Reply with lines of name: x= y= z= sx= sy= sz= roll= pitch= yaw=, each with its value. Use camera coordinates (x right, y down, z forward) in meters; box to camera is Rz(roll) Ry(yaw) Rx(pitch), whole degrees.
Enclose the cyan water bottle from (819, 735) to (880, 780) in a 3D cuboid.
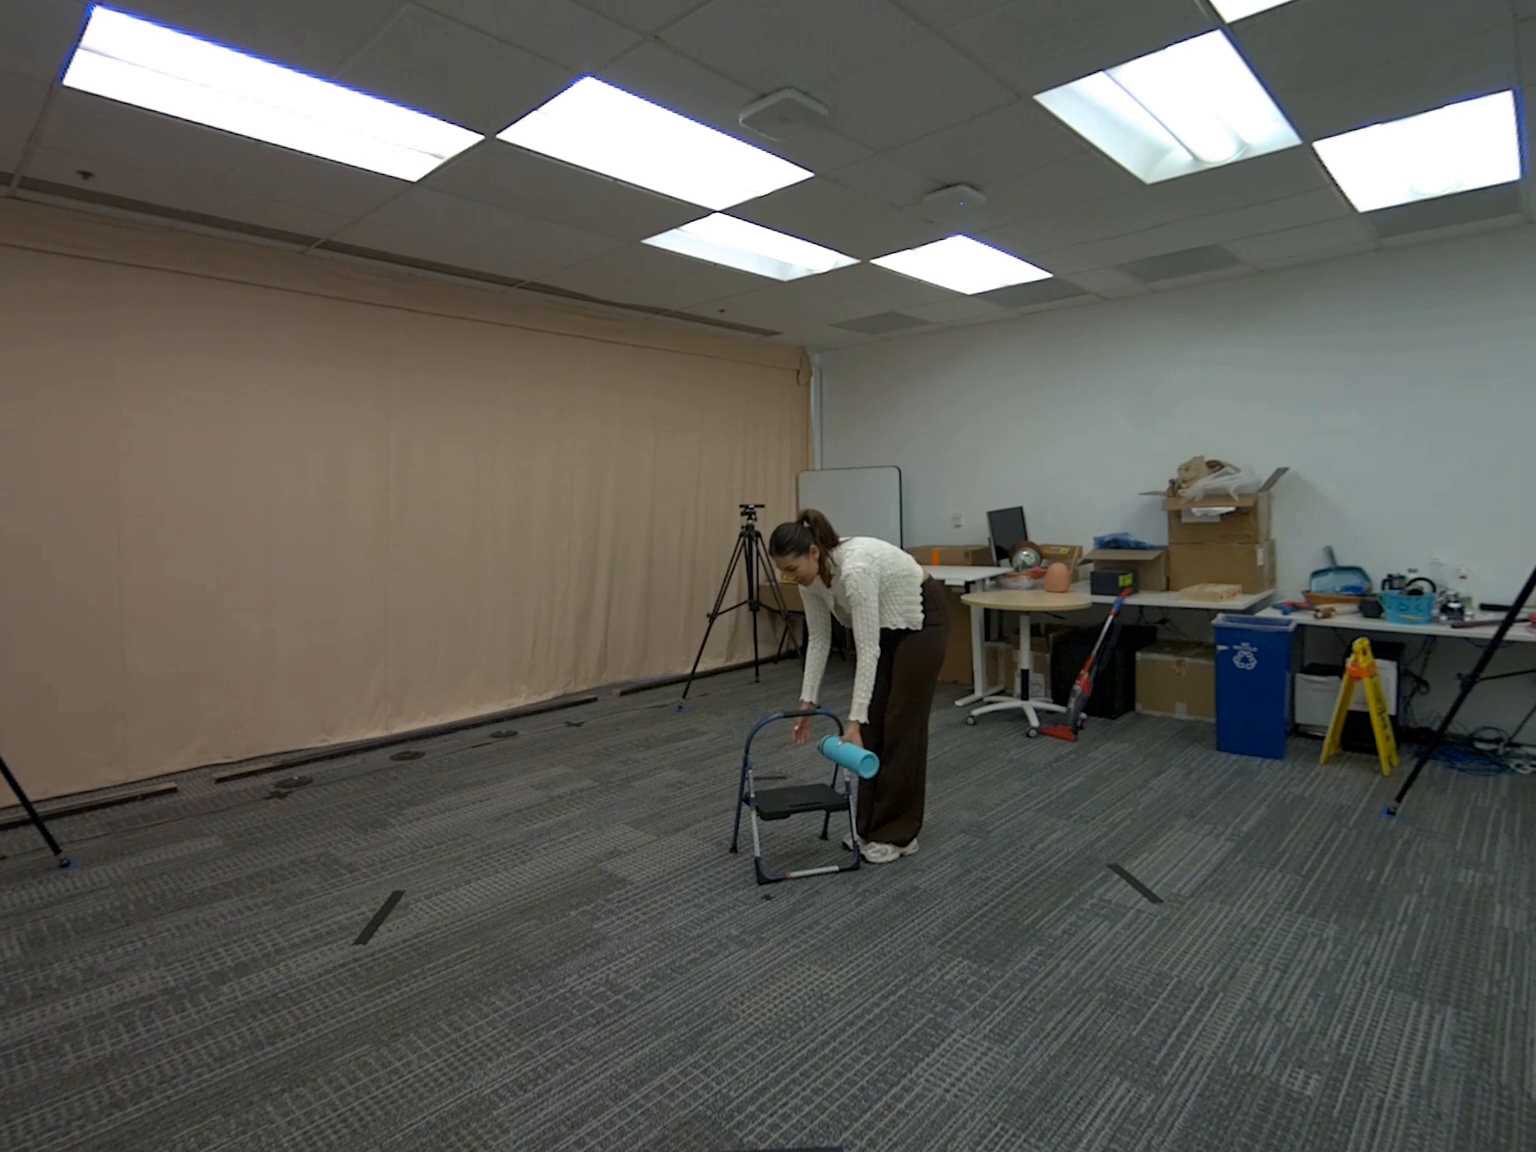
cyan water bottle: x=0.284 y=0.624 z=2.994 sx=0.090 sy=0.092 sz=0.291 roll=-3 pitch=6 yaw=-25
